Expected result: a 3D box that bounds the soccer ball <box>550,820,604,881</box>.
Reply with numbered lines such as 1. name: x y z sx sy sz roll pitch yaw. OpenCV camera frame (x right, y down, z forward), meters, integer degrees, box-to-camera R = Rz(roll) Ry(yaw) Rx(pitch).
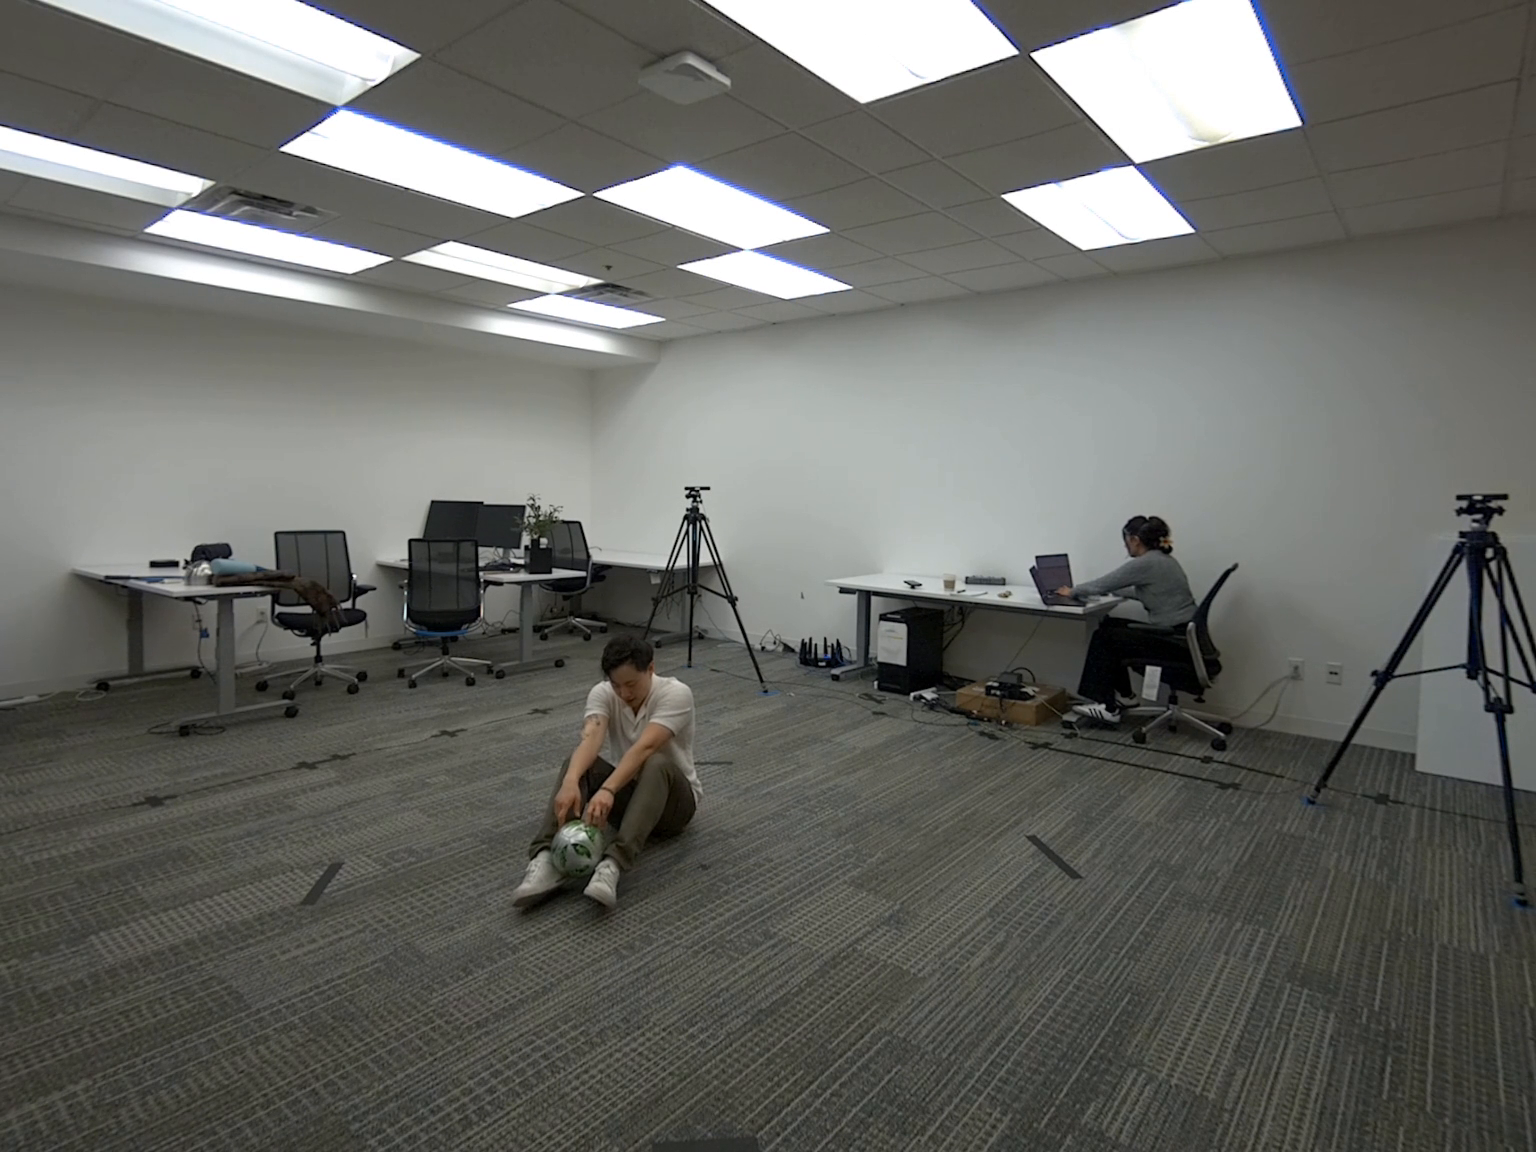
1. soccer ball: -0.659 0.925 2.899 0.187 0.187 0.188 1 4 -2
